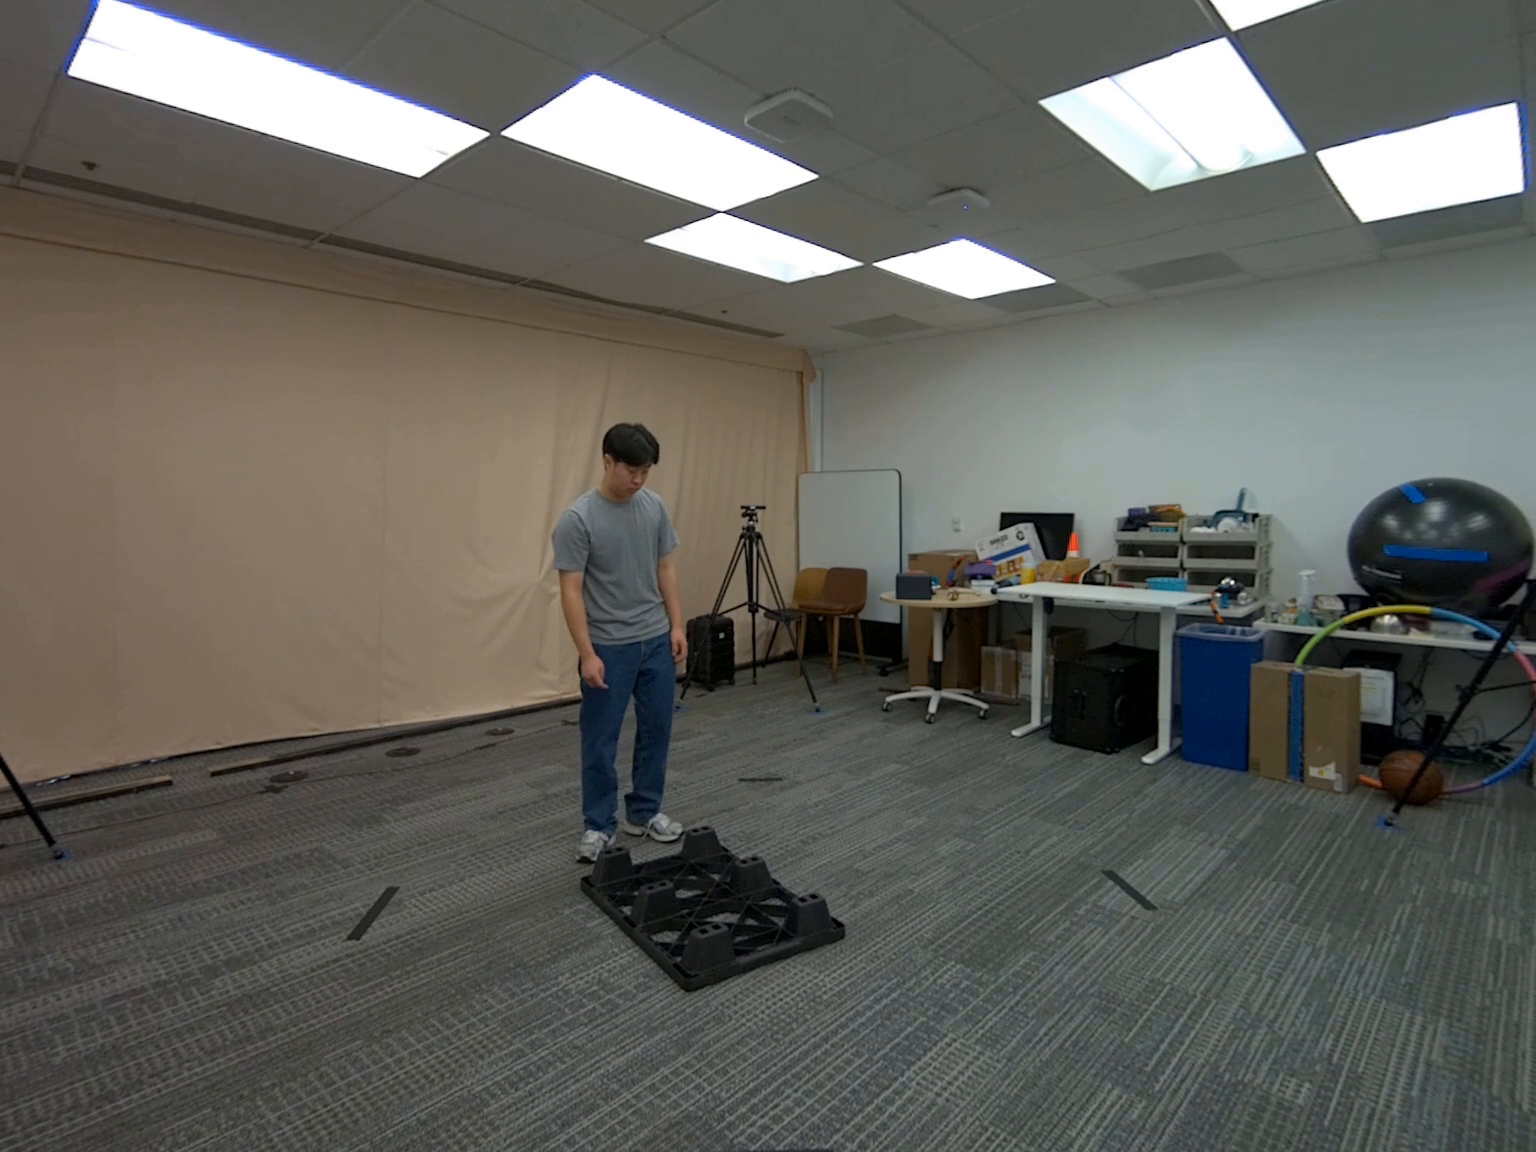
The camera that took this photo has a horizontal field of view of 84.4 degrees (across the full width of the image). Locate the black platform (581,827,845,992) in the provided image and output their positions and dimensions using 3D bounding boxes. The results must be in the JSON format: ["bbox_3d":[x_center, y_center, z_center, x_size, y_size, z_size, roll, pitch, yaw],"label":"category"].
[{"bbox_3d":[-0.210,1.087,2.886,0.588,0.143,0.831,-4,6,-34],"label":"black platform"}]
